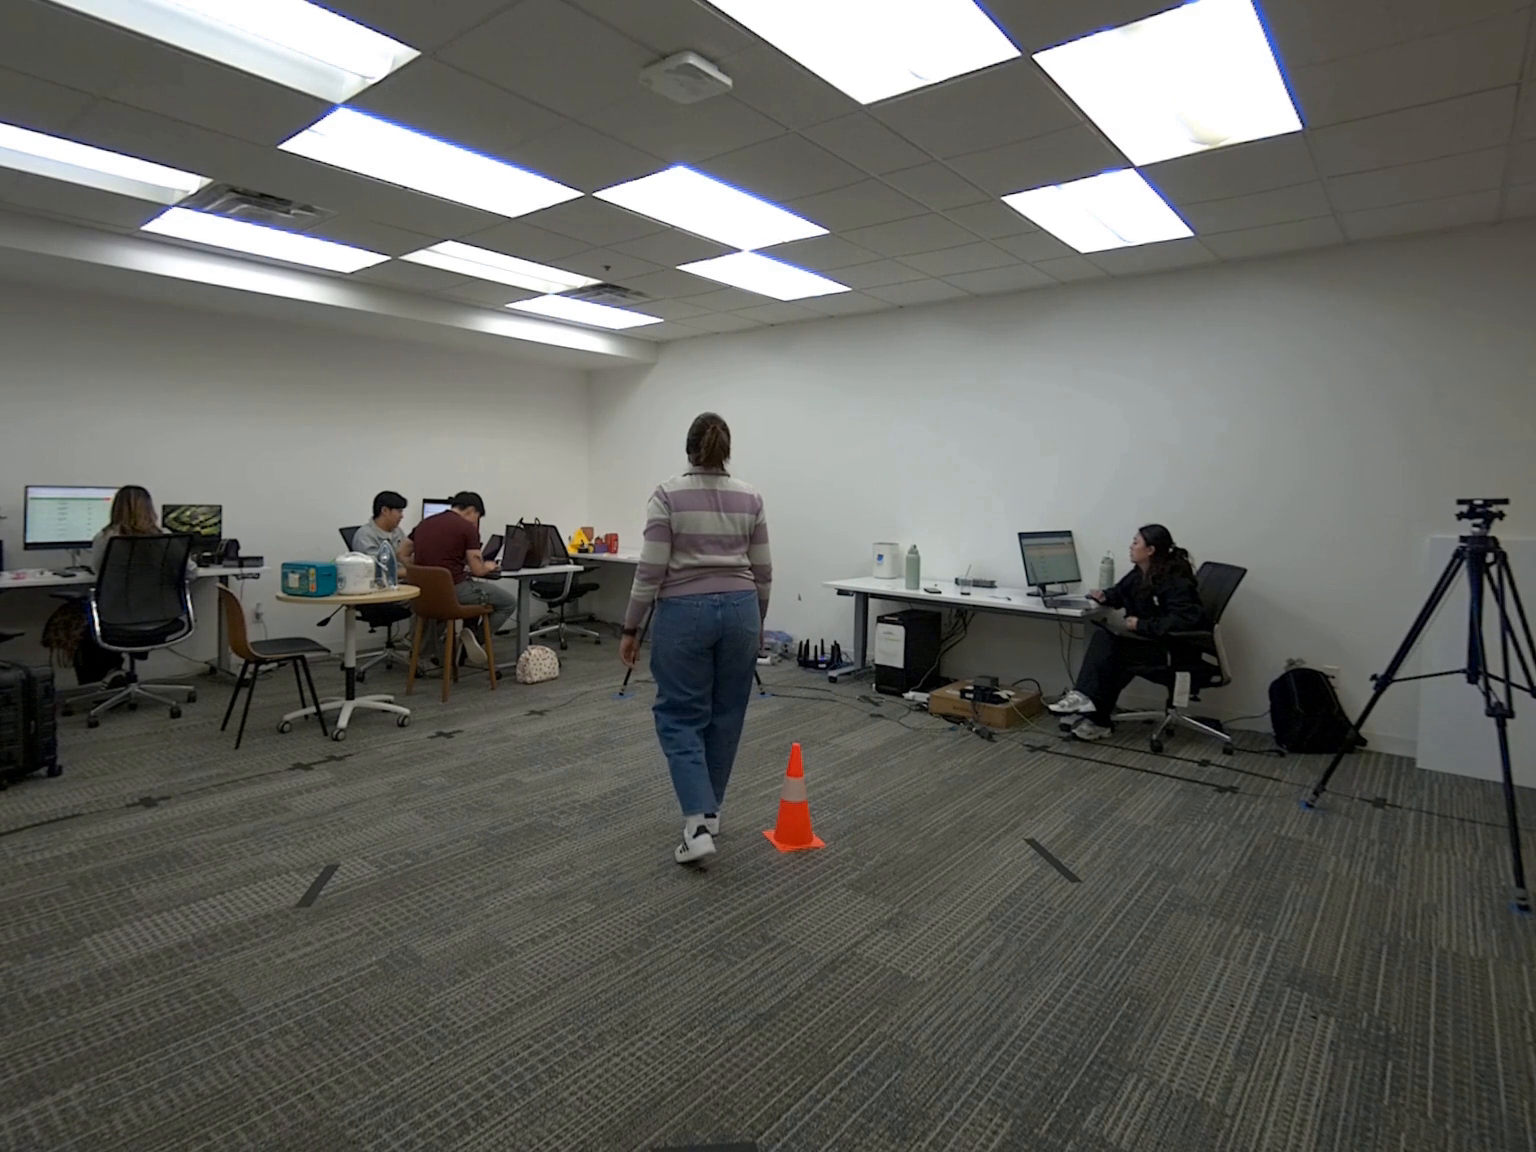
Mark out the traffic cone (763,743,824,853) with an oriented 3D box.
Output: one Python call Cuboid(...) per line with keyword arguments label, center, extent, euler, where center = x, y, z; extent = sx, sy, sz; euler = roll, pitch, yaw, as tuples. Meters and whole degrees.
Cuboid(label="traffic cone", center=(0.108, 0.870, 3.402), extent=(0.200, 0.383, 0.209), euler=(4, 1, -26))
